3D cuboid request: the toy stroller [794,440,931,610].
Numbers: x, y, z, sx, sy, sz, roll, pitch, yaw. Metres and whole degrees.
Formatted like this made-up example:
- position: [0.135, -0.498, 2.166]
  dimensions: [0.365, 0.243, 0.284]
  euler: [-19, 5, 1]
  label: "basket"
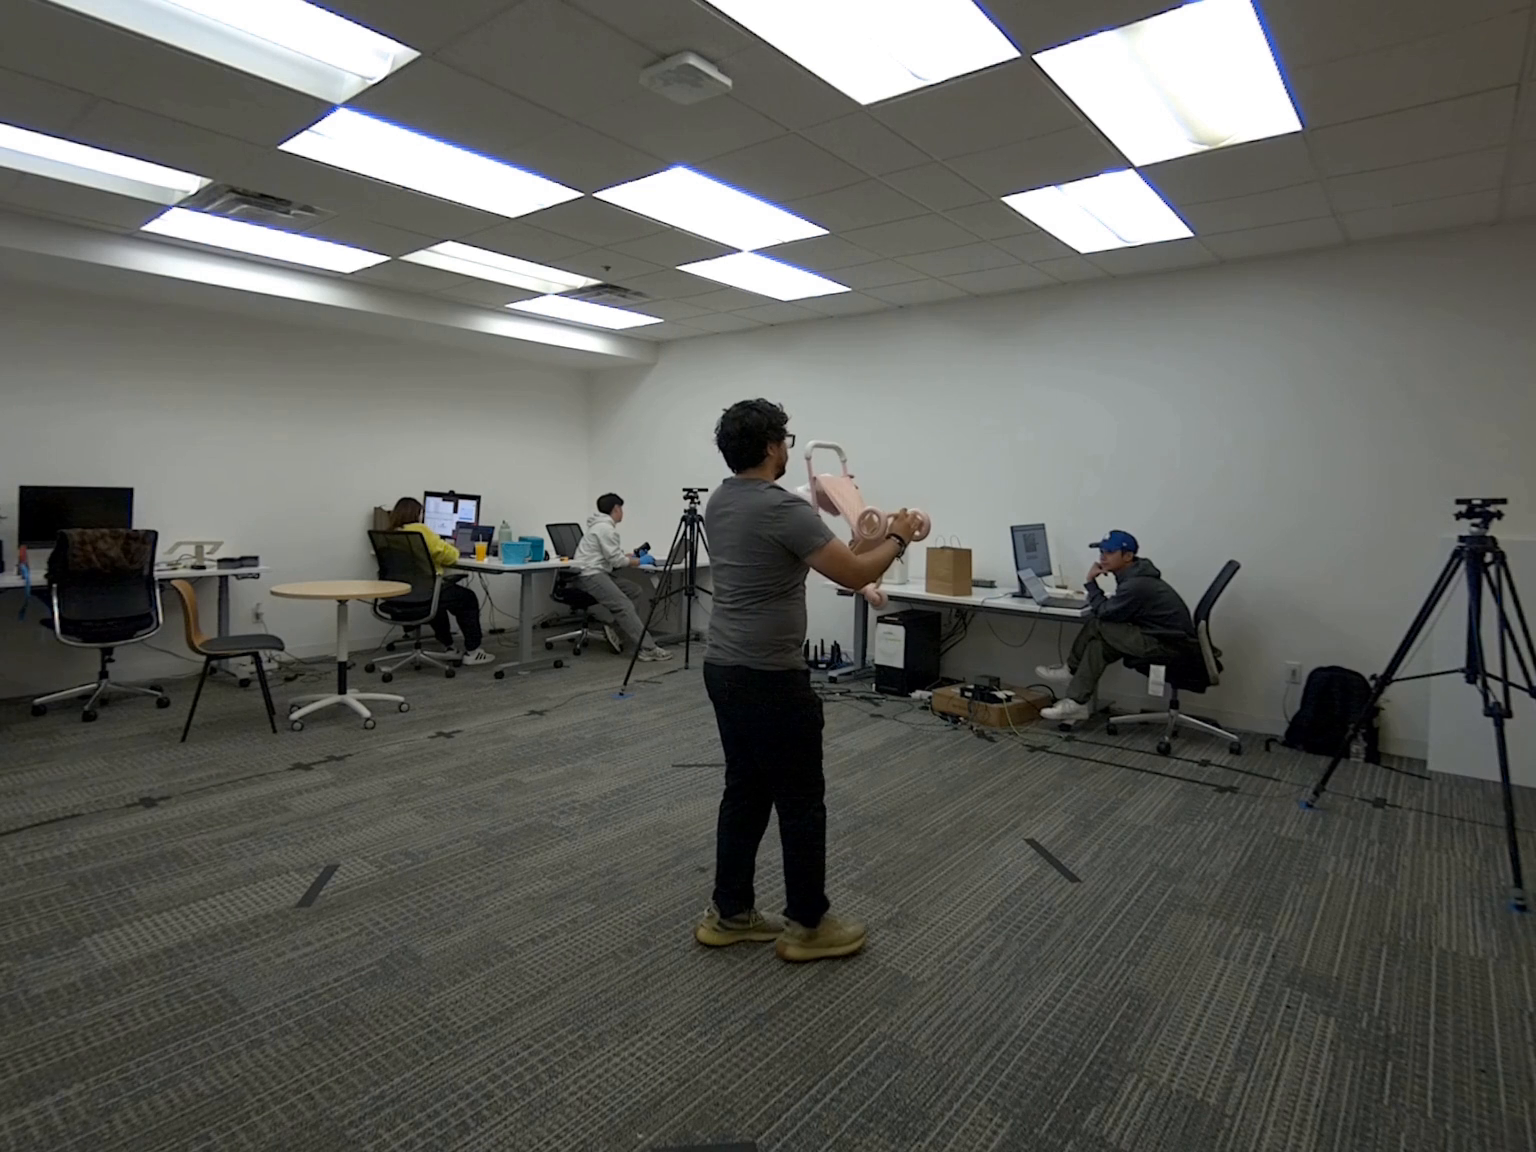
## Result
- position: [0.274, -0.174, 2.853]
  dimensions: [0.273, 0.338, 0.556]
  euler: [-4, 42, -44]
  label: "toy stroller"
